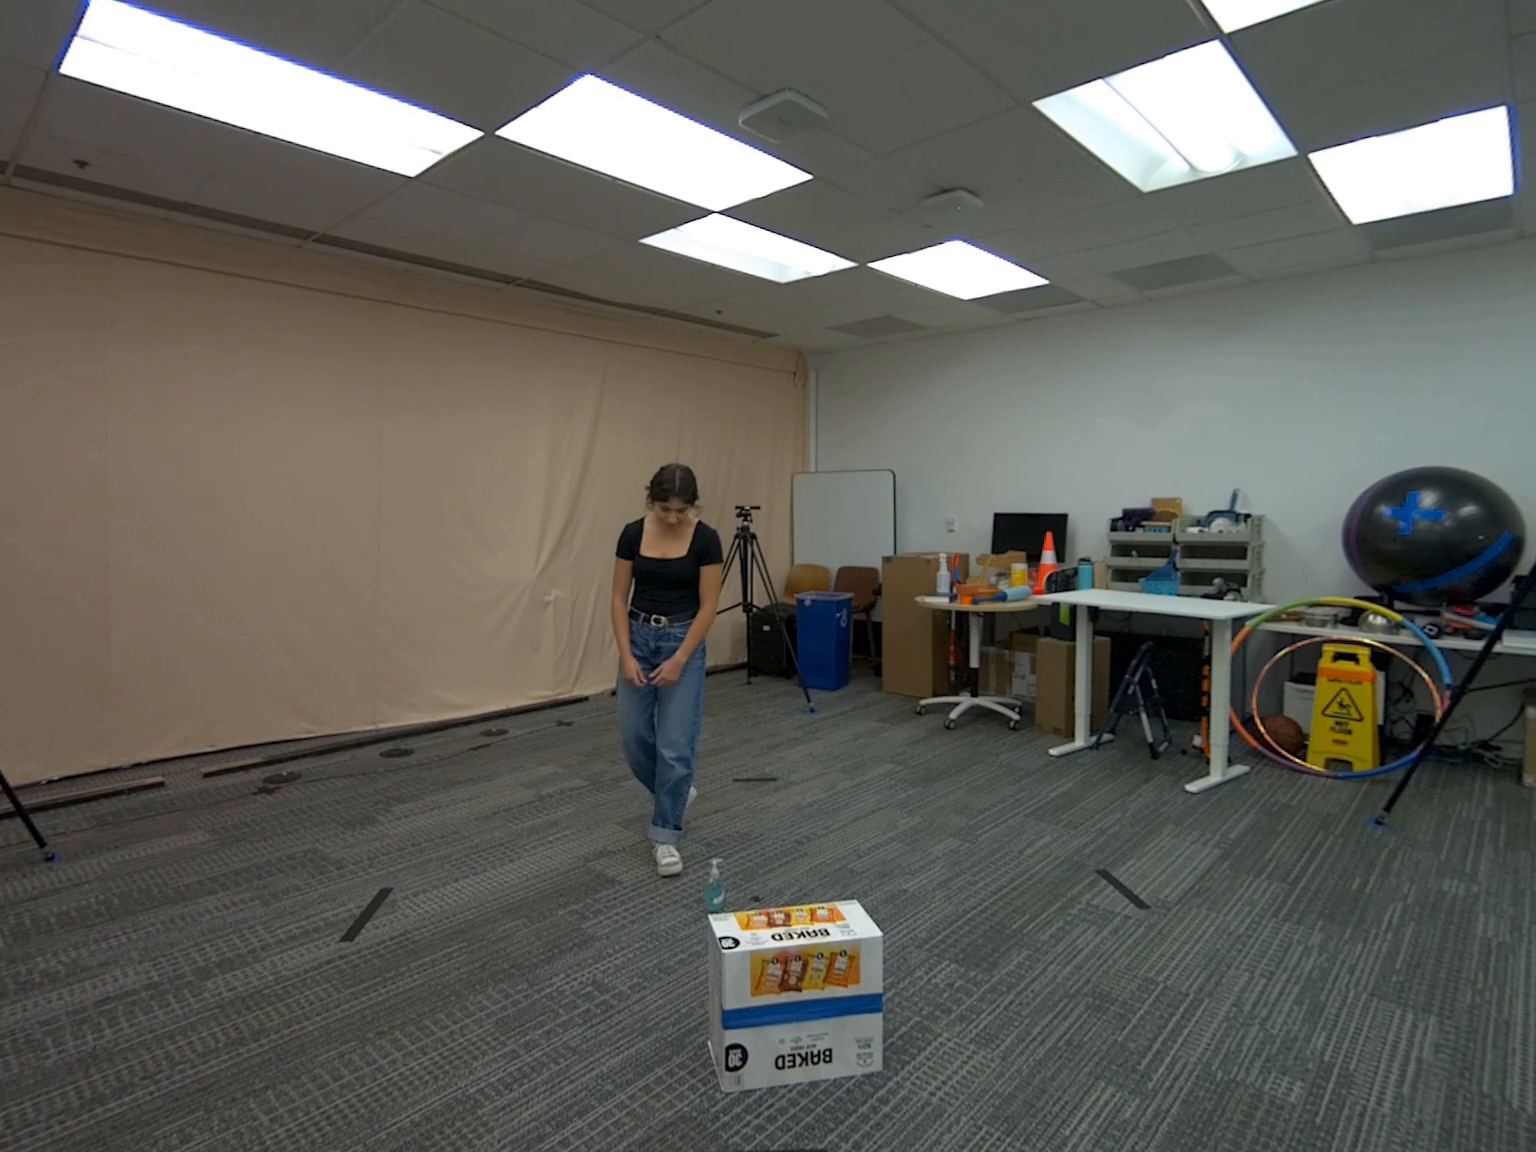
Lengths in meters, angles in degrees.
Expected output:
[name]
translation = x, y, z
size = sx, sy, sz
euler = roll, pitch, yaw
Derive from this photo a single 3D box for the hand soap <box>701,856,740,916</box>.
[hand soap]
translation = -0.179, 1.071, 2.911
size = 0.082, 0.168, 0.045
euler = -6, 2, -40
